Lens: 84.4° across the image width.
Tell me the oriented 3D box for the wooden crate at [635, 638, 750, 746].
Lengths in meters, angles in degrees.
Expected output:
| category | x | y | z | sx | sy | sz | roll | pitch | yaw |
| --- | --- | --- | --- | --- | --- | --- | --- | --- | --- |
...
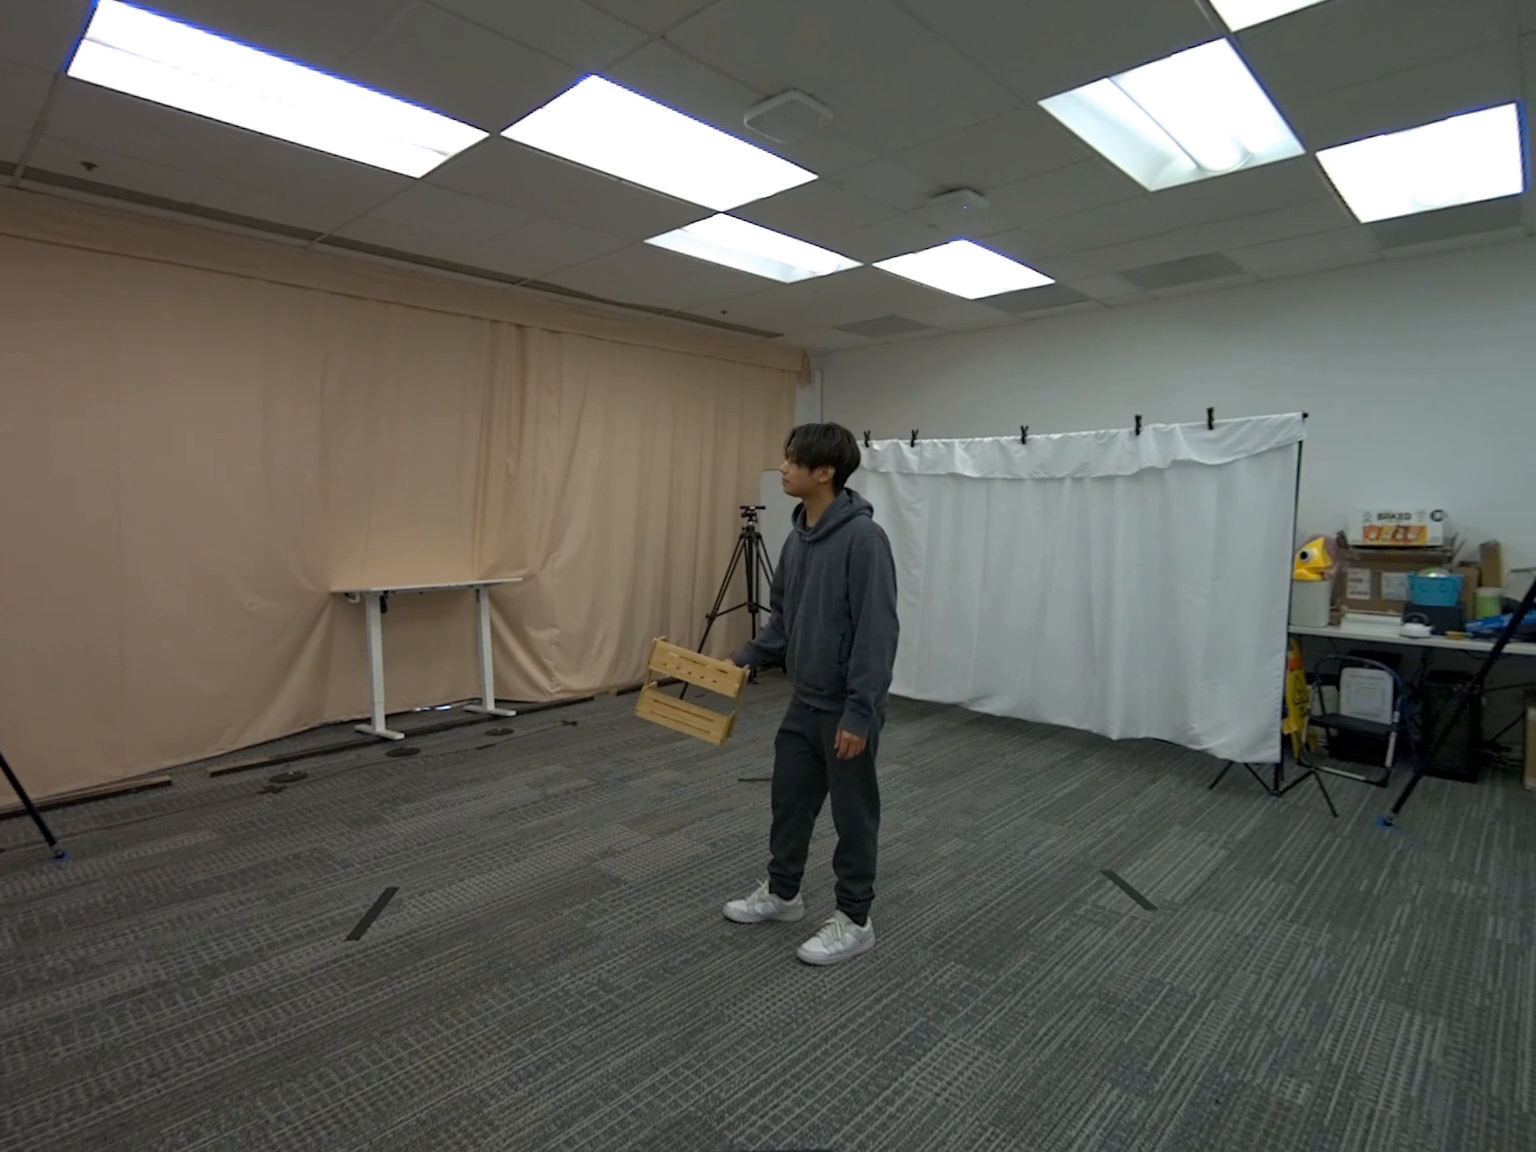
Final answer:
| category | x | y | z | sx | sy | sz | roll | pitch | yaw |
| --- | --- | --- | --- | --- | --- | --- | --- | --- | --- |
| wooden crate | -0.236 | 0.365 | 2.807 | 0.327 | 0.273 | 0.299 | 18 | -1 | 7 |
